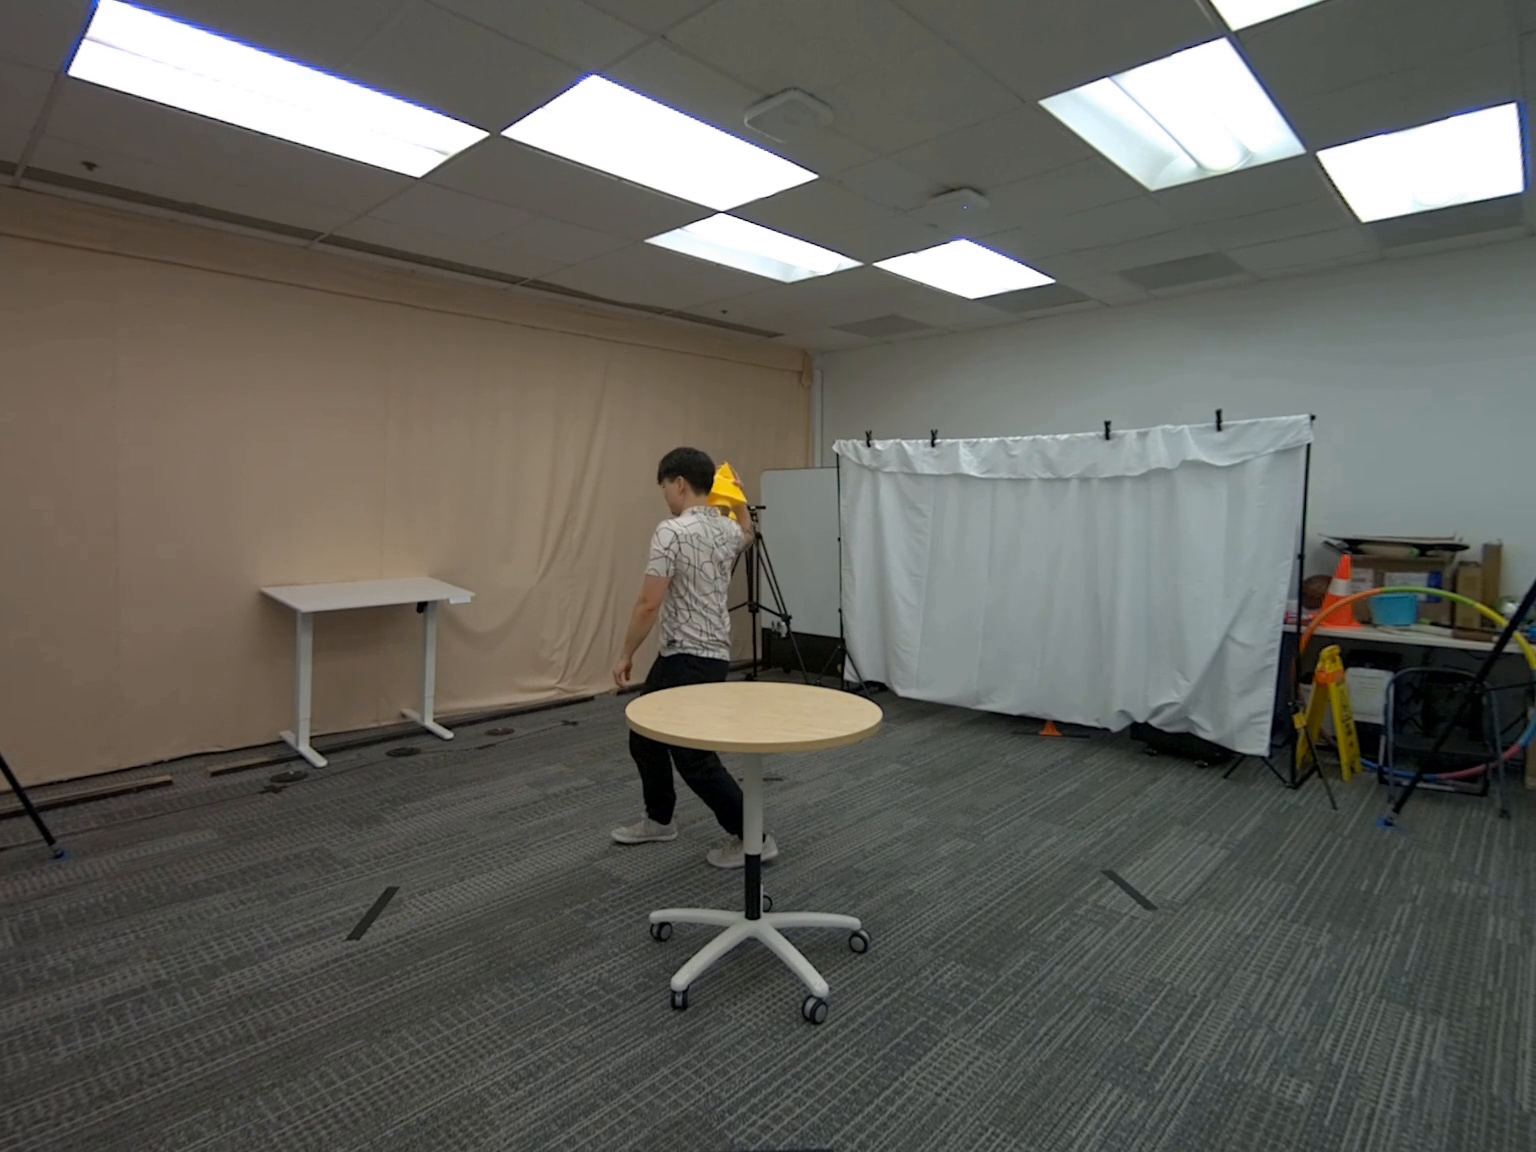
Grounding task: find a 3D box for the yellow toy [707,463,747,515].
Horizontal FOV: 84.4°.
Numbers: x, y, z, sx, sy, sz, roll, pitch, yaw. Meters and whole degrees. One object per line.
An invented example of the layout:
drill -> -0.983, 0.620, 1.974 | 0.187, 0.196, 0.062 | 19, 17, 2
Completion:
yellow toy -> -0.220, -0.354, 3.541 | 0.198, 0.232, 0.198 | 12, -15, -42
